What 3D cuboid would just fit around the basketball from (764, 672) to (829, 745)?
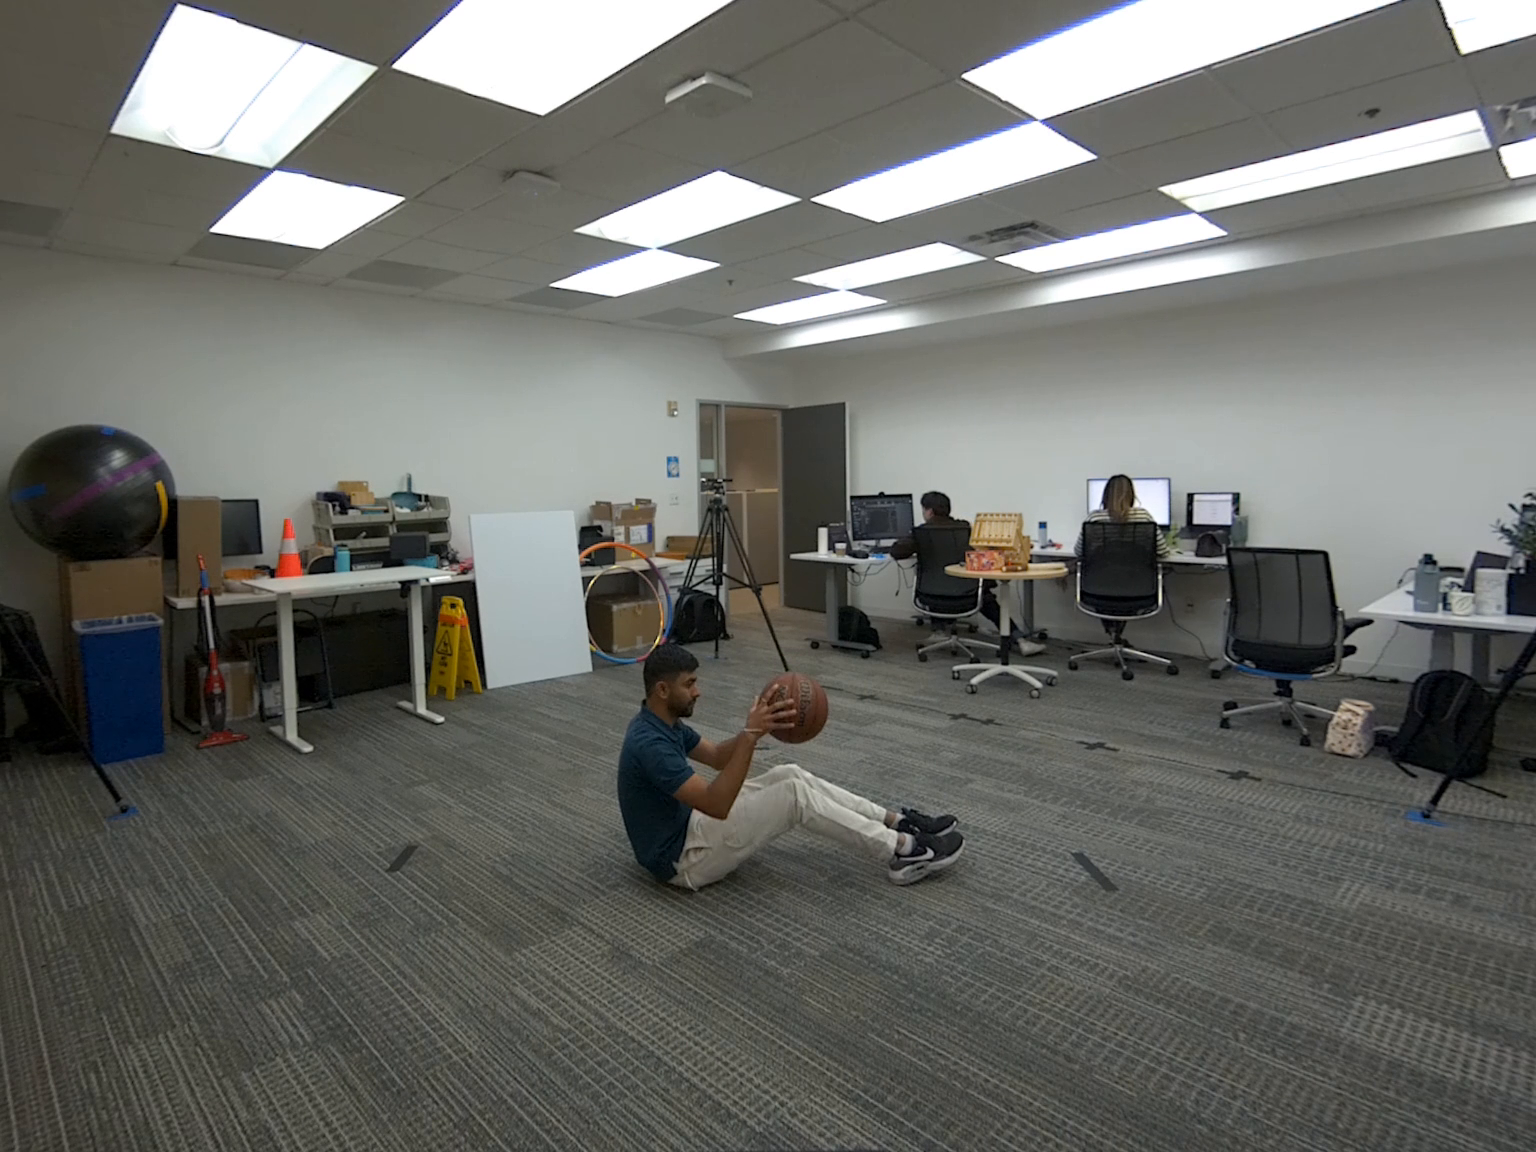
[{"bbox_3d":[0.097,0.449,2.920,0.236,0.235,0.237,-1,5,-2],"label":"basketball"}]
